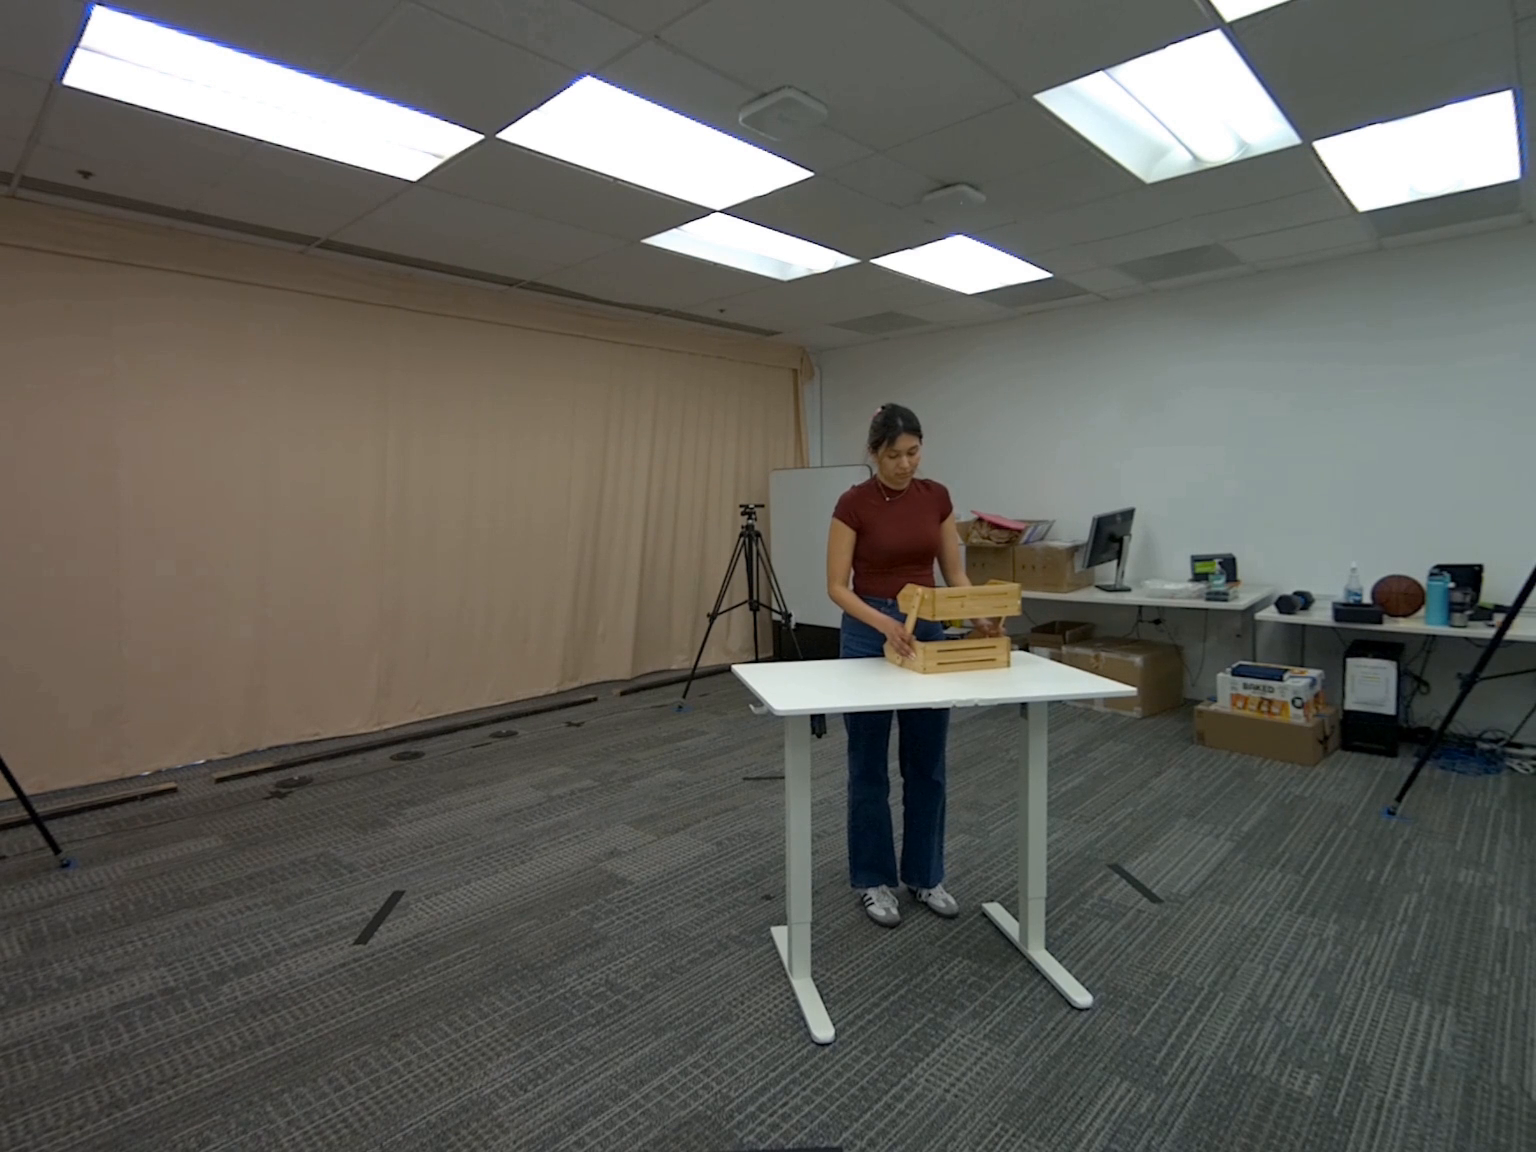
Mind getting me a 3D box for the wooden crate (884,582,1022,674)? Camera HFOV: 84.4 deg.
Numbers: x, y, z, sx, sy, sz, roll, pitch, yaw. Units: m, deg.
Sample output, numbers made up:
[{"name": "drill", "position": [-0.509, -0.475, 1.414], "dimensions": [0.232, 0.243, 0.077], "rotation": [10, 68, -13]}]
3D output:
[{"name": "wooden crate", "position": [0.567, 0.145, 2.621], "dimensions": [0.319, 0.272, 0.308], "rotation": [-2, 5, -18]}]
